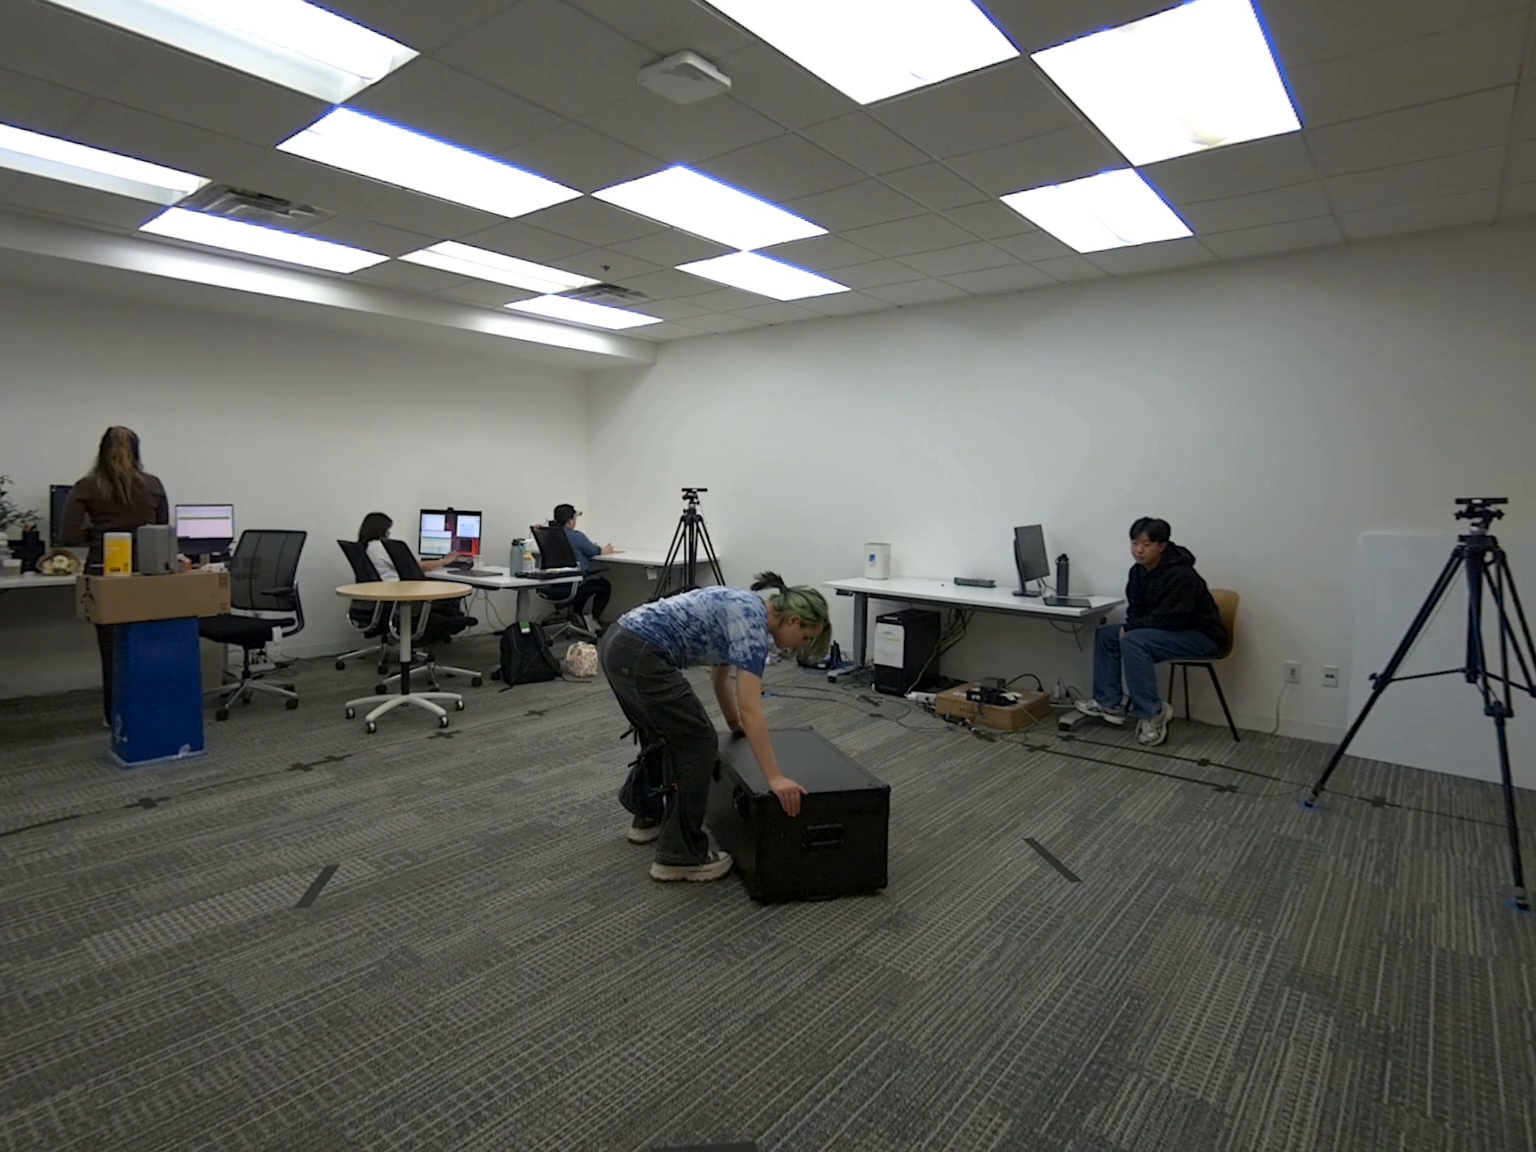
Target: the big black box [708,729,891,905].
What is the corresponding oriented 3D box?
[{"bbox_3d":[0.073,0.870,3.225,0.513,0.395,0.879,-1,5,-17],"label":"big black box"}]
